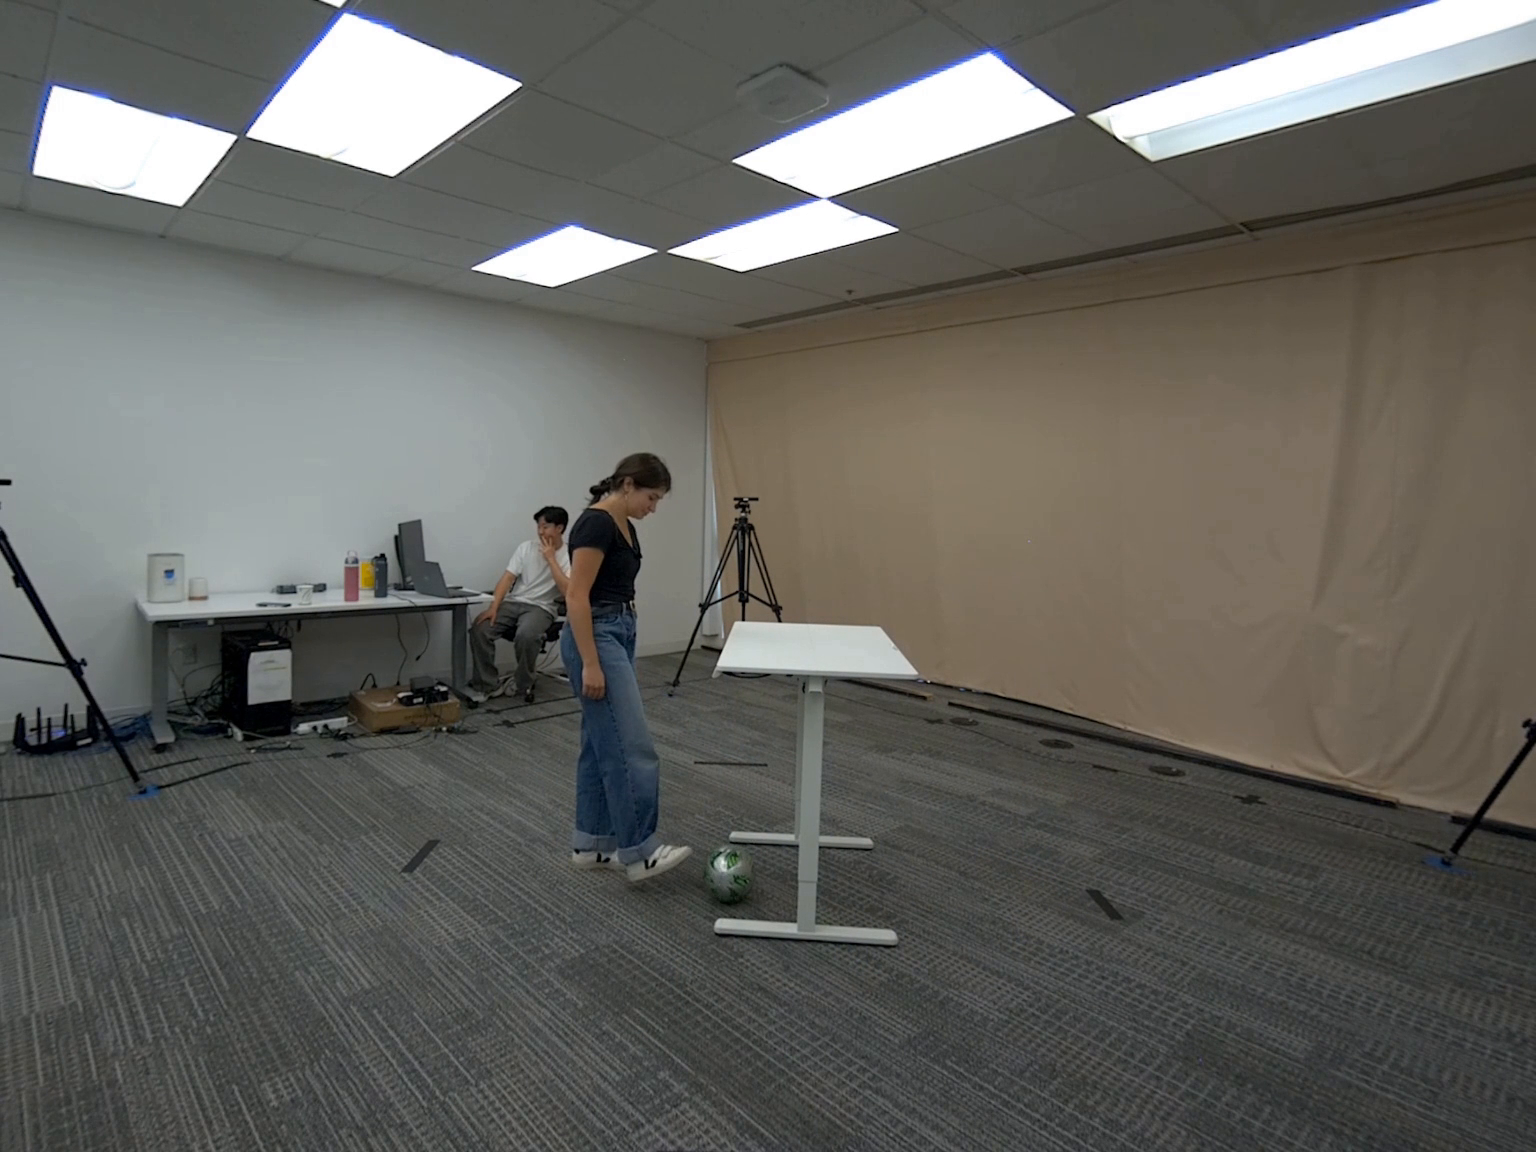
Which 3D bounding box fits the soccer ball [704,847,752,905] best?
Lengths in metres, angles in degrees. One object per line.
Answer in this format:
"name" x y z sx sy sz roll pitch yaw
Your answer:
"soccer ball" -0.141 1.038 2.907 0.187 0.187 0.188 1 4 -1
